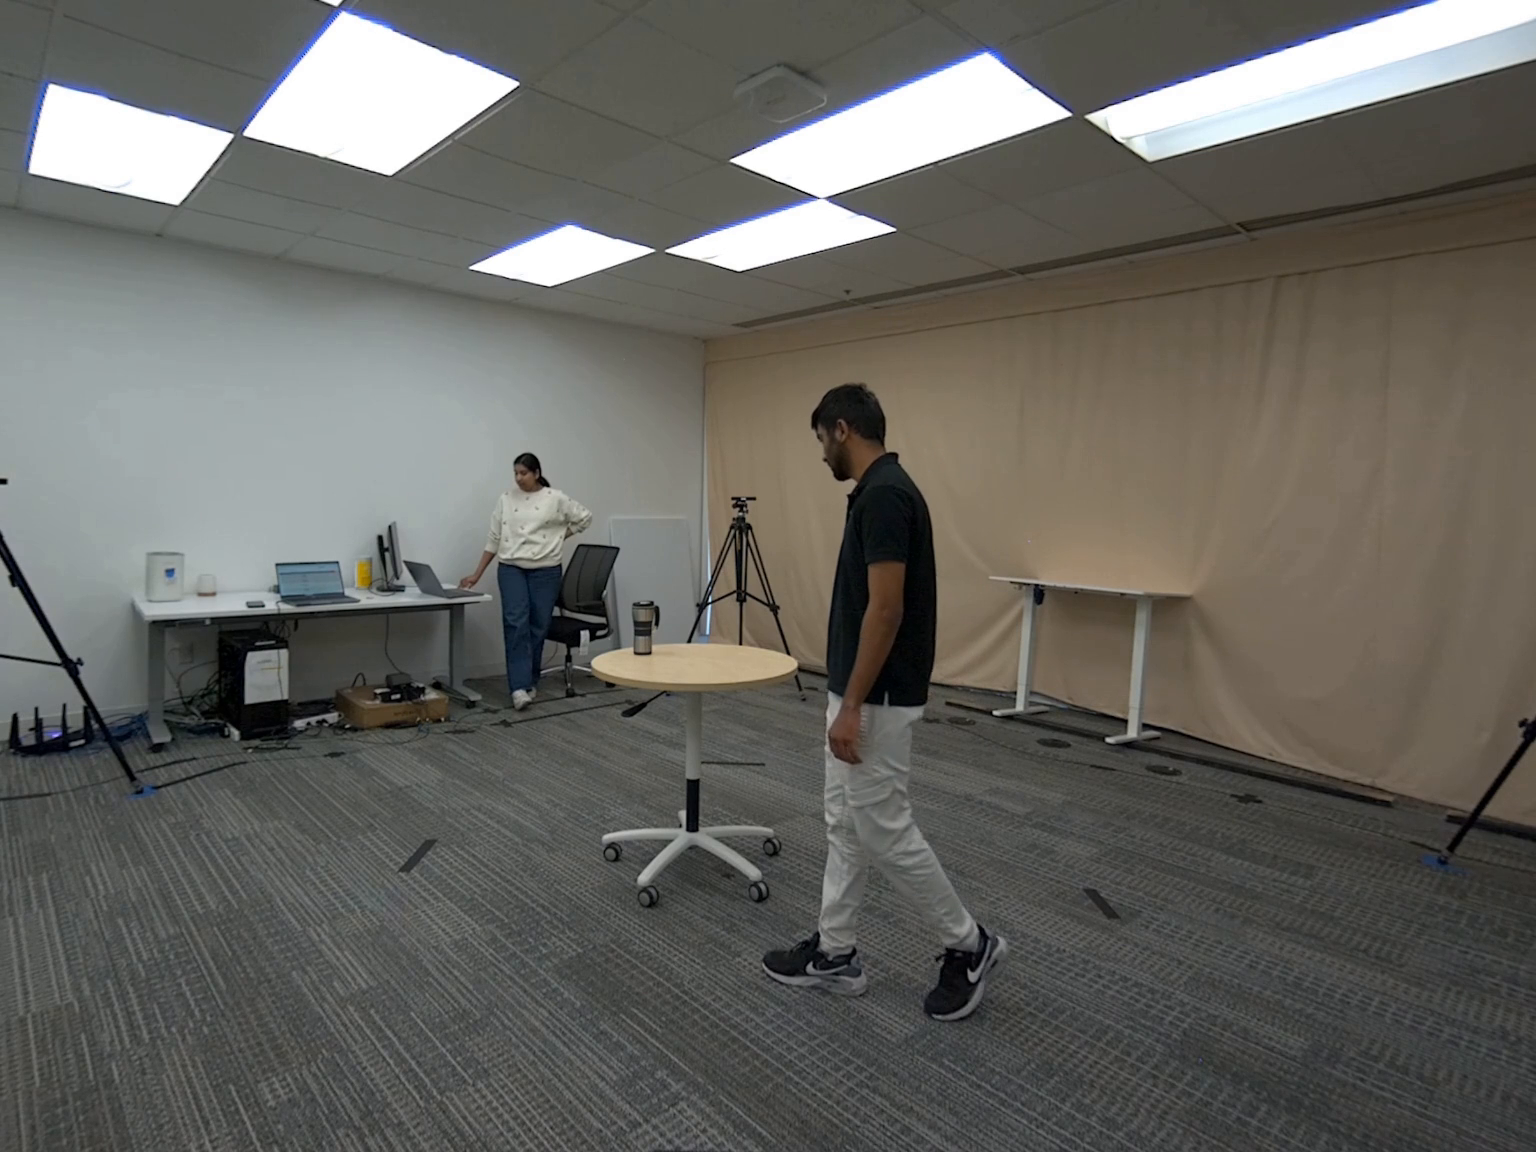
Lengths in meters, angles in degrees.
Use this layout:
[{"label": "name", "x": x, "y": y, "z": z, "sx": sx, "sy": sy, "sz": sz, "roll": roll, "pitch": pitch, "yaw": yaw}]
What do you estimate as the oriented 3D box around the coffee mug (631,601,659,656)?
[{"label": "coffee mug", "x": -0.476, "y": 0.204, "z": 3.277, "sx": 0.120, "sy": 0.203, "sz": 0.089, "roll": -3, "pitch": 1, "yaw": -24}]
